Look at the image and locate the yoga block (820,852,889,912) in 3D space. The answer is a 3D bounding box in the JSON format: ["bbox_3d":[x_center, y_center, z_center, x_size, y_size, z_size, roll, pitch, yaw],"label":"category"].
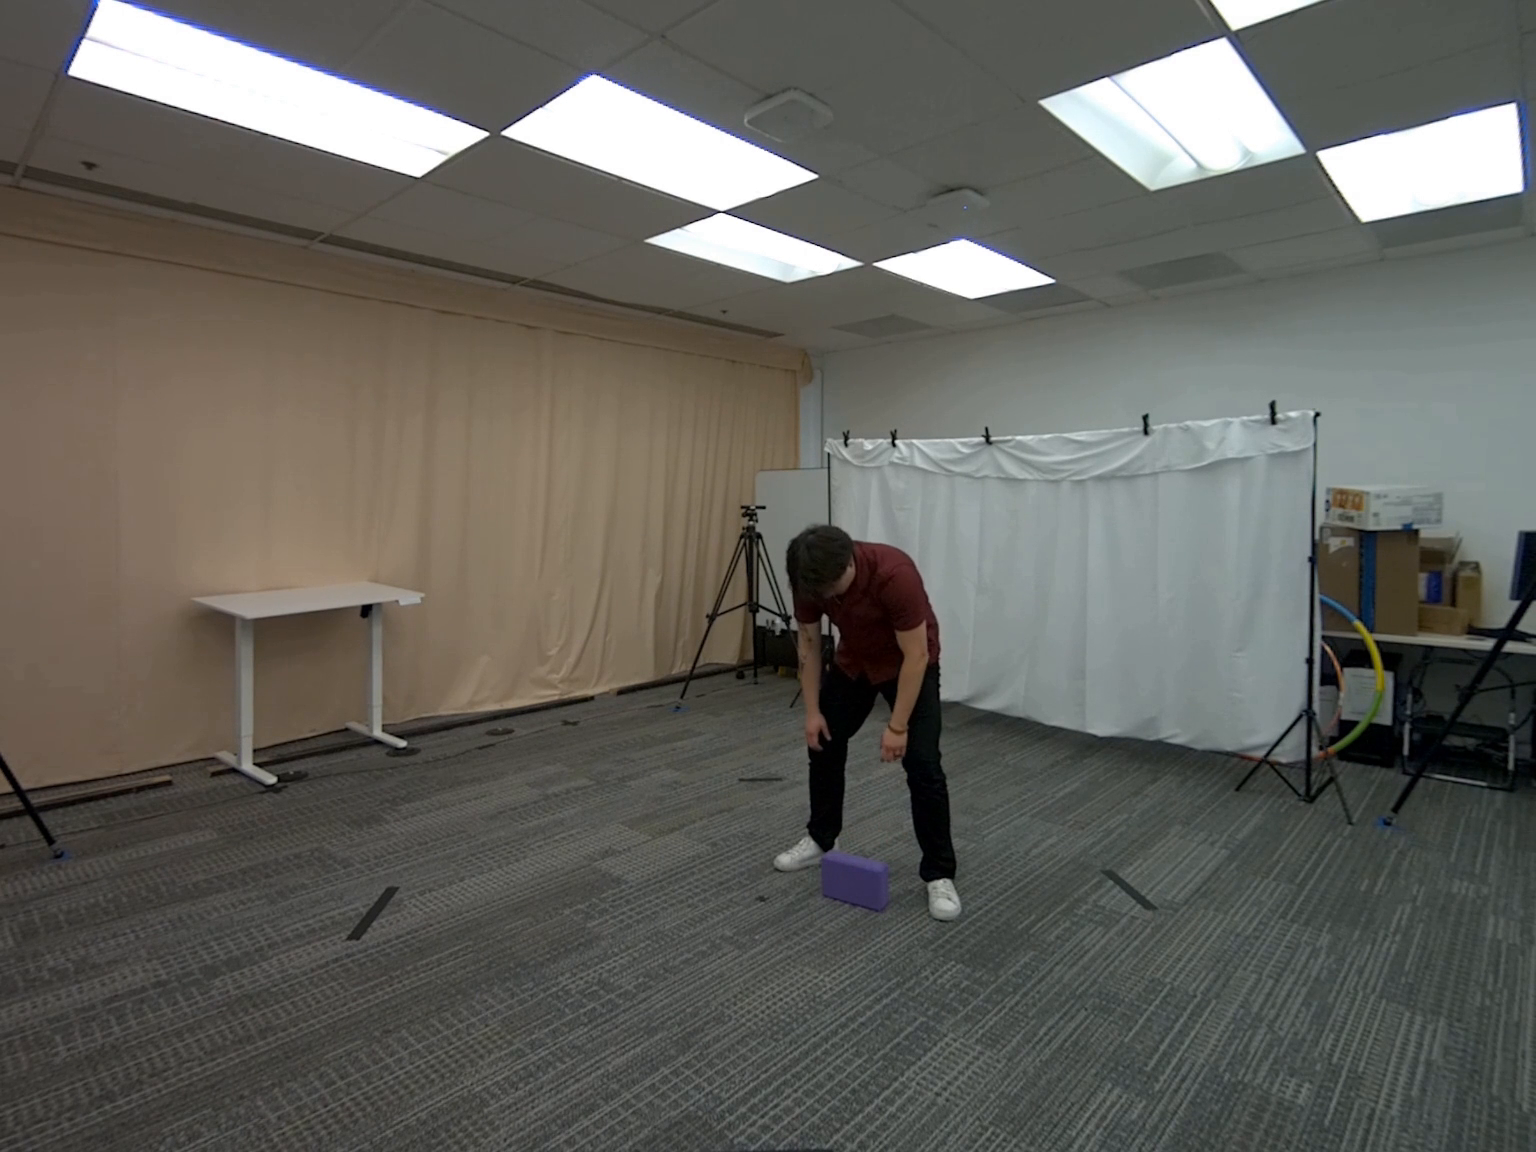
[{"bbox_3d":[0.311,1.070,2.968,0.236,0.149,0.074,3,4,32],"label":"yoga block"}]
